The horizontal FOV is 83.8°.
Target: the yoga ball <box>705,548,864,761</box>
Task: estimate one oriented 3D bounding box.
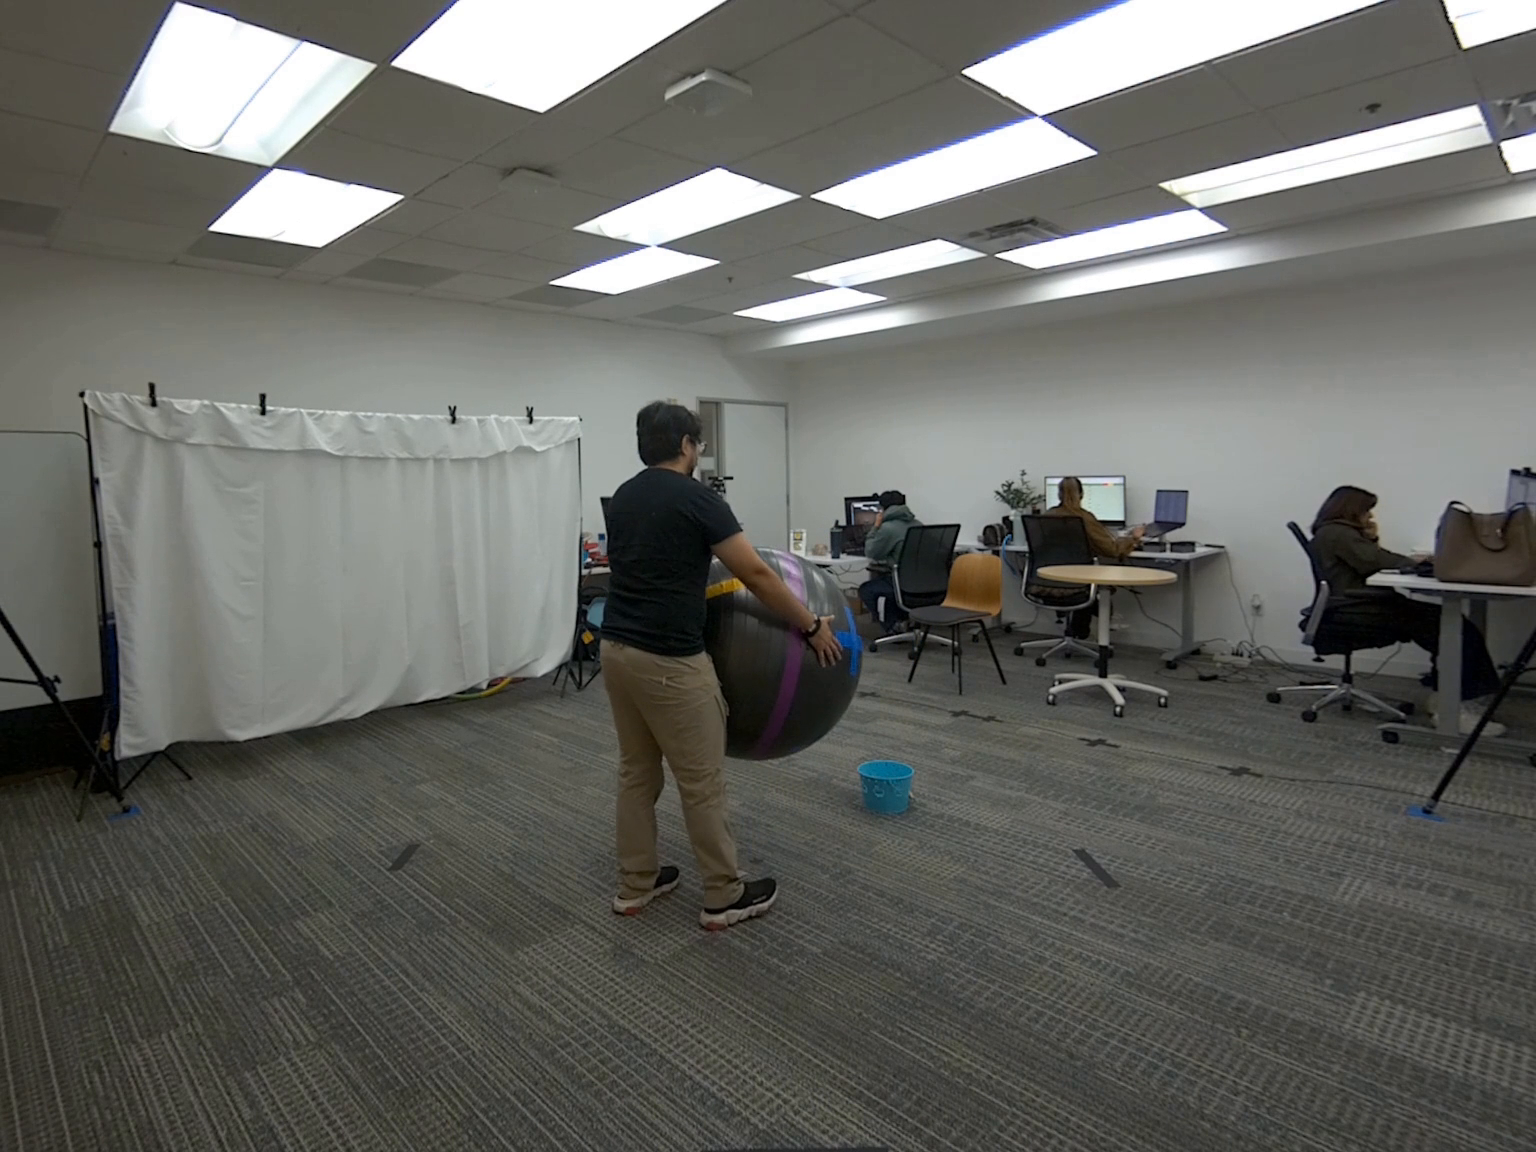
[{"bbox_3d":[-0.035,0.280,3.083,0.757,0.755,0.762,-1,5,-2],"label":"yoga ball"}]
